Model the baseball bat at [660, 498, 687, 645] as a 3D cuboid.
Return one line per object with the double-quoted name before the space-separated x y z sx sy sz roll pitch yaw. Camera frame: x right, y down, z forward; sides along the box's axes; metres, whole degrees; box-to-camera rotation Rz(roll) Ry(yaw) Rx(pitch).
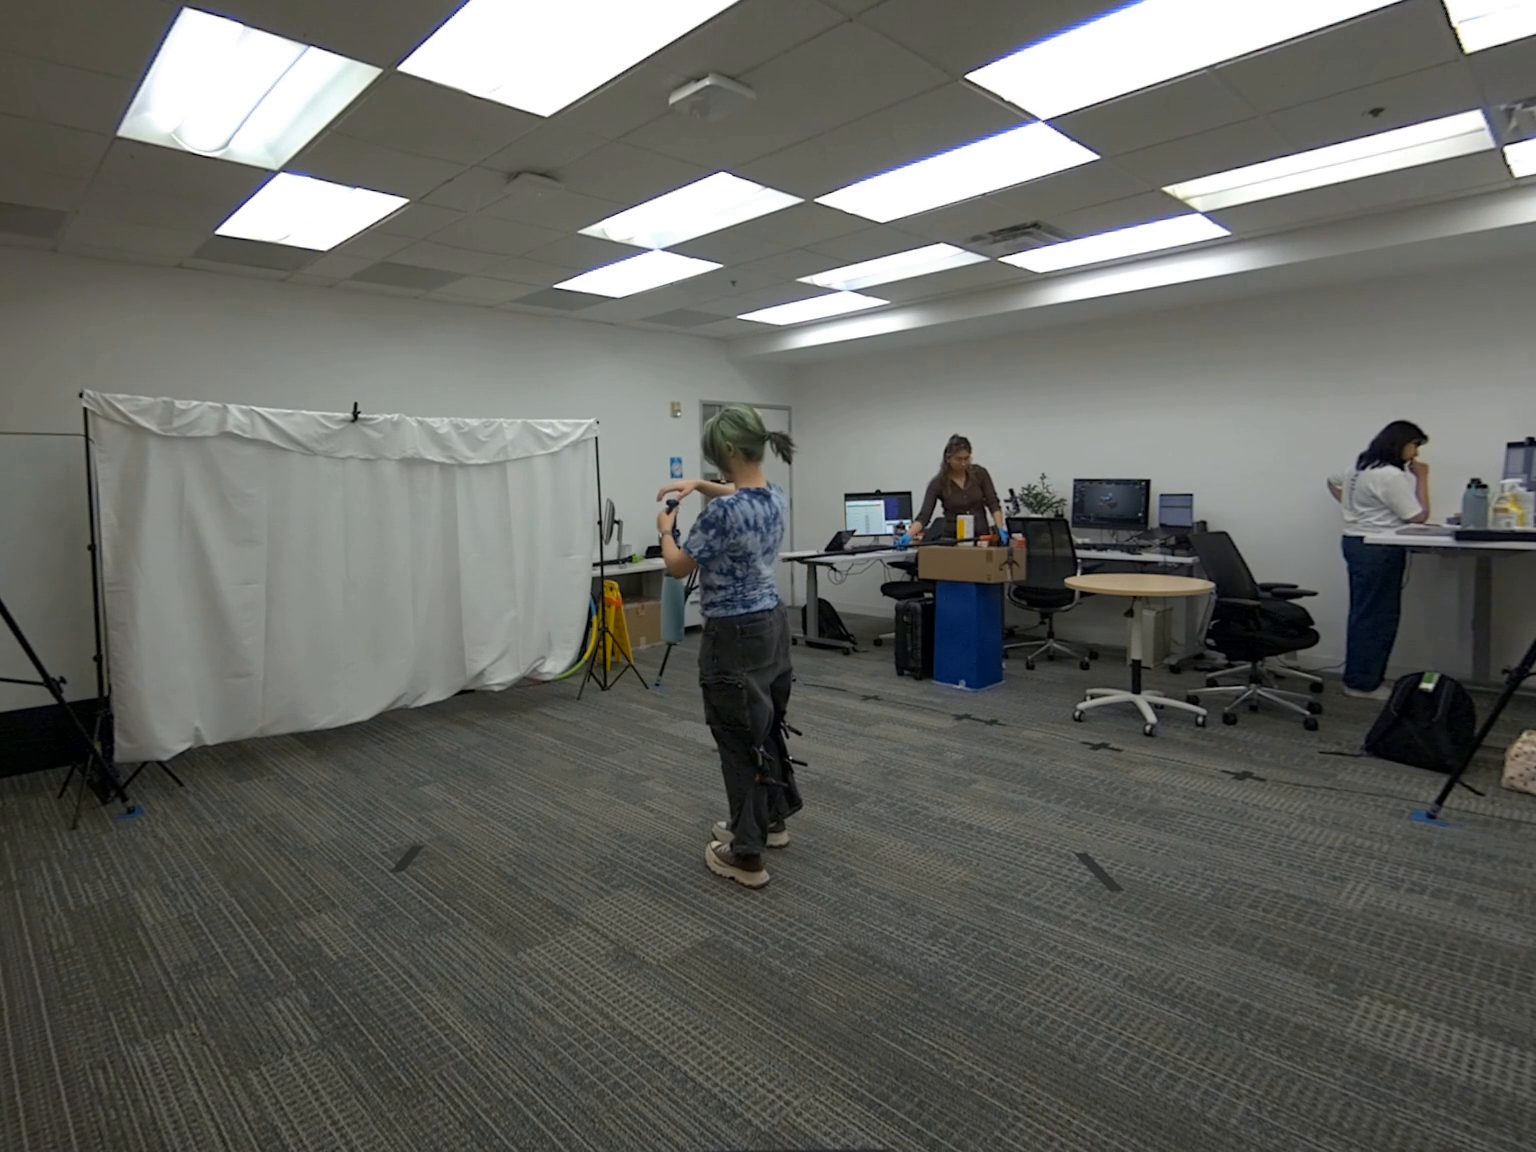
"baseball bat" -0.356 -0.021 3.225 0.089 0.543 0.089 0 0 -2
